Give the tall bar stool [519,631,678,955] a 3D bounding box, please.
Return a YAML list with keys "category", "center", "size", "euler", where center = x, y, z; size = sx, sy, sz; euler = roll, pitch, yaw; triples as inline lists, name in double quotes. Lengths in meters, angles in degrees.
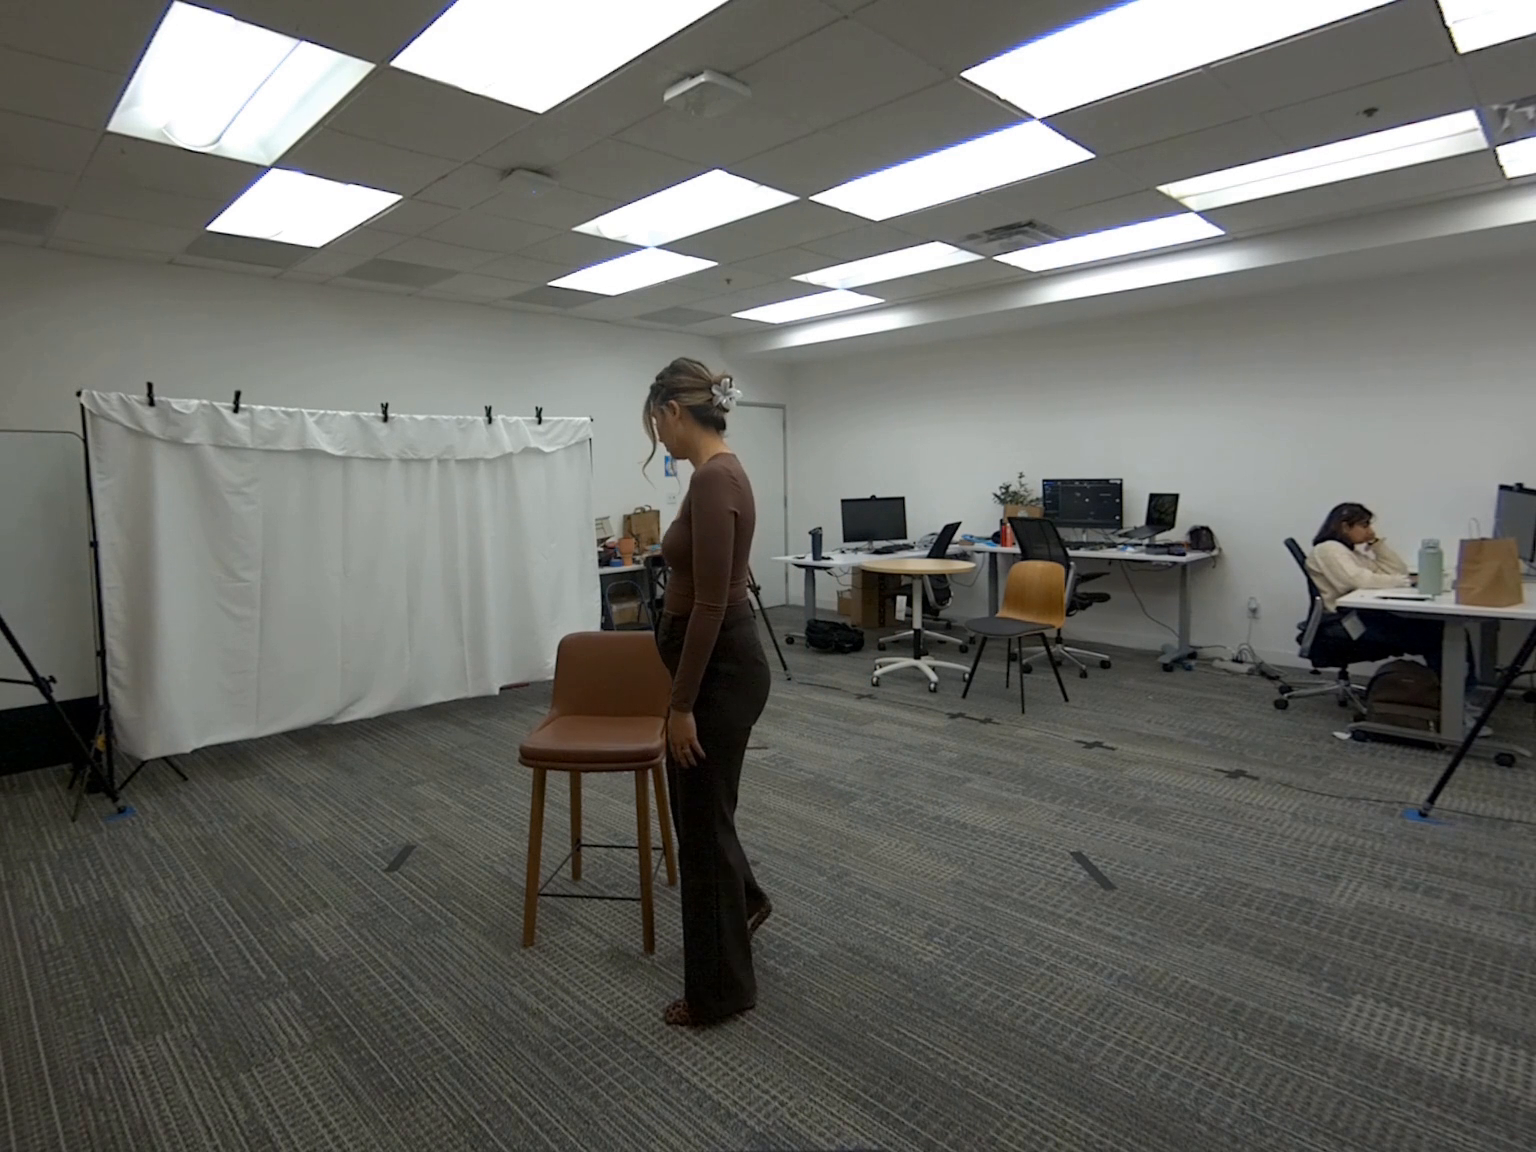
- category: "tall bar stool"
  center: [-0.528, 0.657, 2.747]
  size: [0.460, 0.887, 0.465]
  euler: [0, 3, 8]
